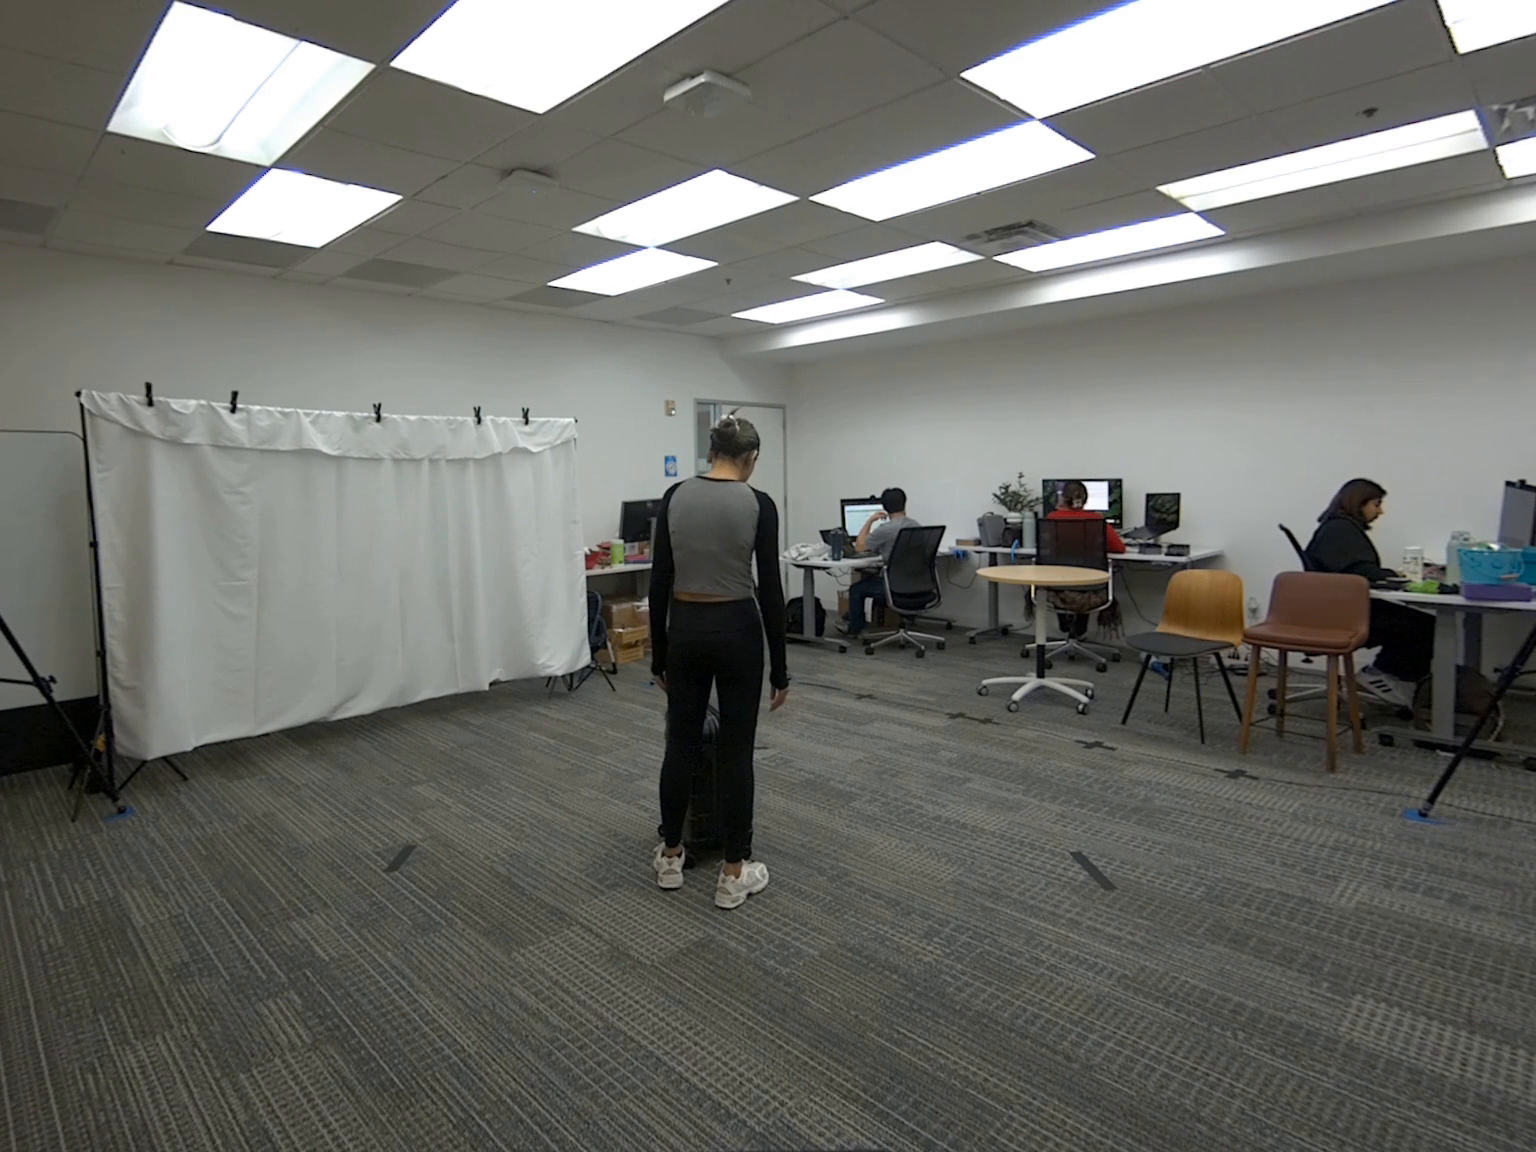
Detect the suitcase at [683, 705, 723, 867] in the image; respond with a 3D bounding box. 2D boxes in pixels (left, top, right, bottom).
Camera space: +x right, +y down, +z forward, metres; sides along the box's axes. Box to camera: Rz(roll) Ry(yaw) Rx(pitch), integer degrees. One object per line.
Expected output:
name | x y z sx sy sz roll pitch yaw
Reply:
suitcase | -0.225 0.751 3.239 0.244 0.547 0.384 -2 4 -22
